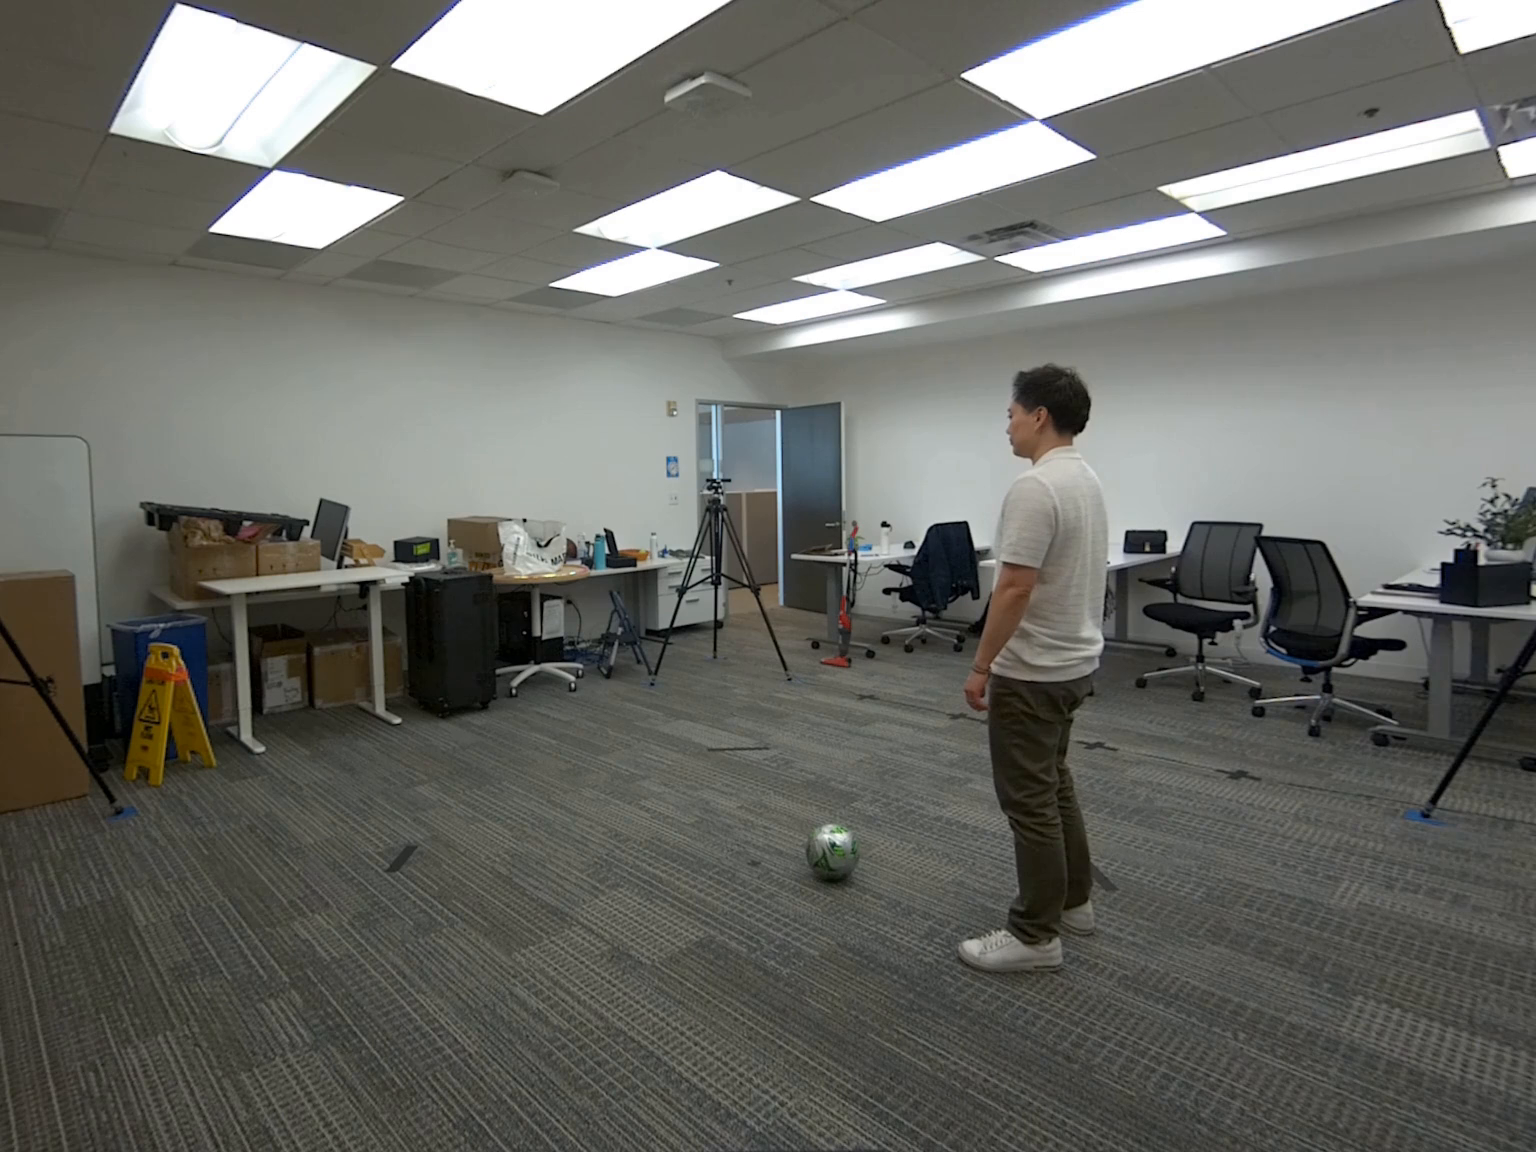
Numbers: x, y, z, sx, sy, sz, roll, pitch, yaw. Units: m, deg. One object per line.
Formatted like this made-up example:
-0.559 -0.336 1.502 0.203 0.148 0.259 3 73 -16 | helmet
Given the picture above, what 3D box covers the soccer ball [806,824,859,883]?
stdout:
0.225 0.959 2.984 0.187 0.187 0.188 -1 5 -2 | soccer ball
